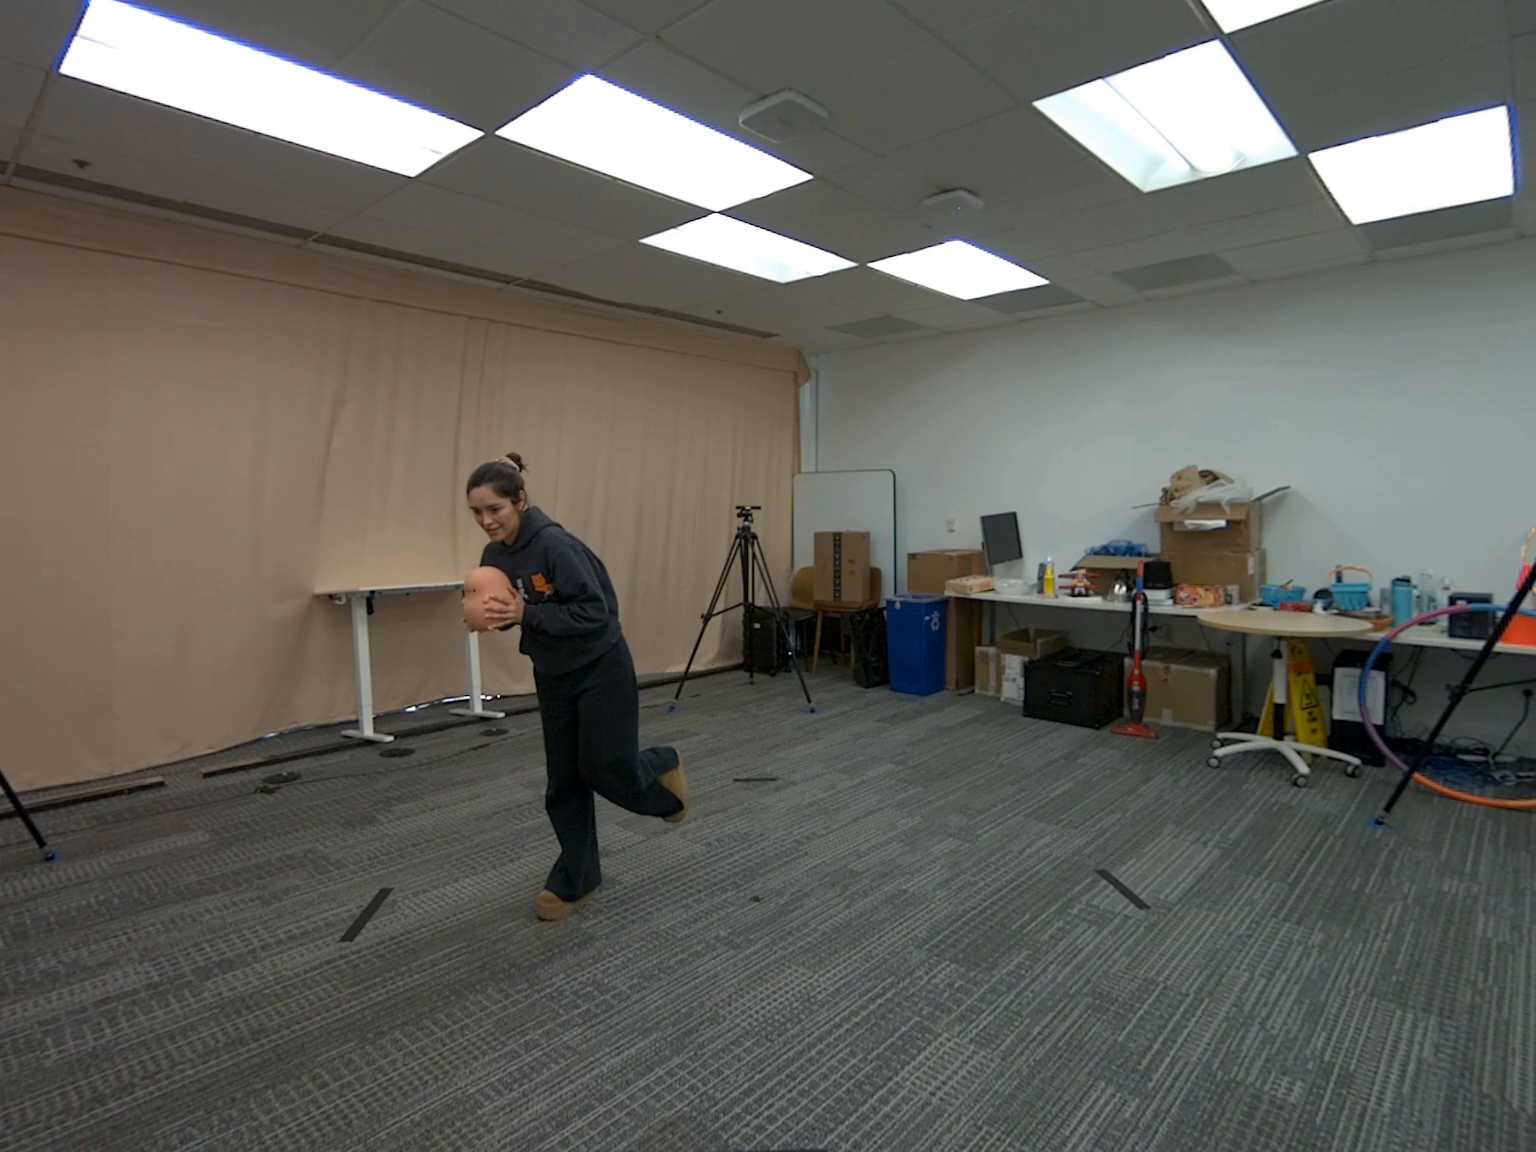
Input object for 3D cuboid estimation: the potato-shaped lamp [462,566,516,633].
[{"bbox_3d":[-0.889,0.084,2.711,0.170,0.196,0.168,-3,16,39],"label":"potato-shaped lamp"}]
